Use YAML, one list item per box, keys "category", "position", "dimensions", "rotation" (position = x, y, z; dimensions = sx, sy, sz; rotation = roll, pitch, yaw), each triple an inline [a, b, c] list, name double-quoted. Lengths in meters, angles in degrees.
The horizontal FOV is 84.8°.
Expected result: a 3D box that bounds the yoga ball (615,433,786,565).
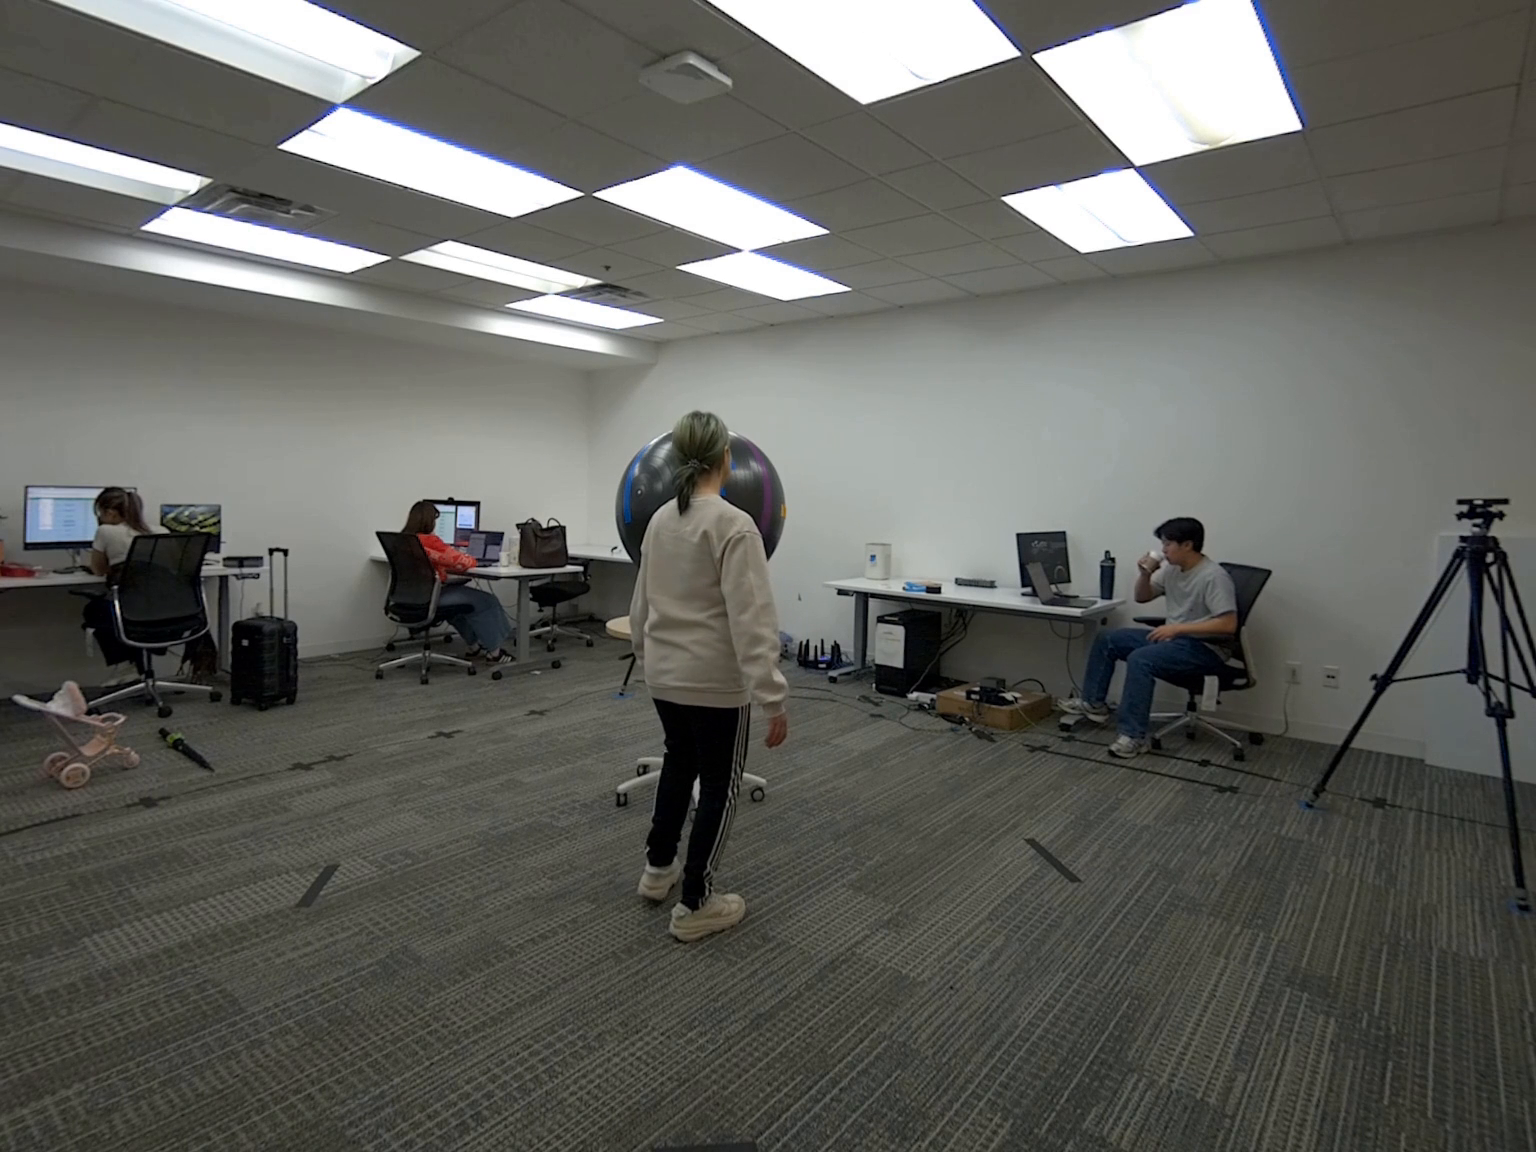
- category: "yoga ball"
  position: [-0.311, -0.292, 3.810]
  dimensions: [0.757, 0.756, 0.761]
  rotation: [1, 4, -2]
